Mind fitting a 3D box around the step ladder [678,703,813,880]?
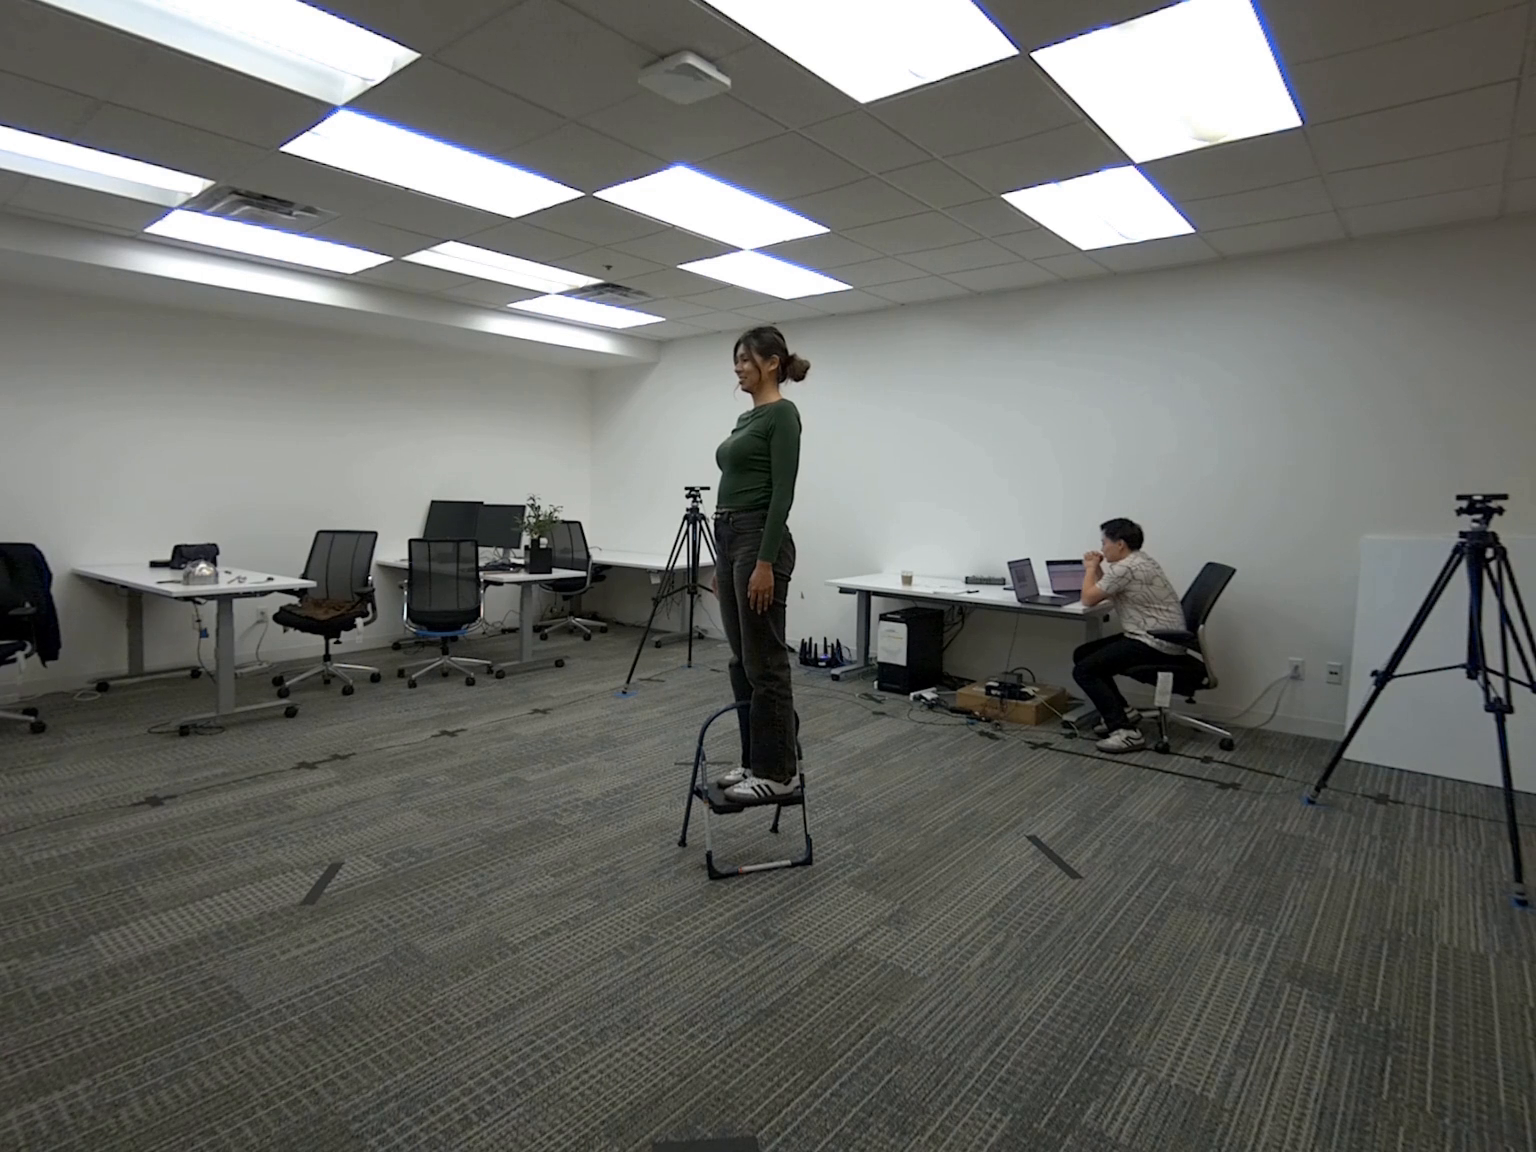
[{"bbox_3d":[-0.098,0.753,3.221,0.421,0.604,0.358,-1,4,-23],"label":"step ladder"}]
